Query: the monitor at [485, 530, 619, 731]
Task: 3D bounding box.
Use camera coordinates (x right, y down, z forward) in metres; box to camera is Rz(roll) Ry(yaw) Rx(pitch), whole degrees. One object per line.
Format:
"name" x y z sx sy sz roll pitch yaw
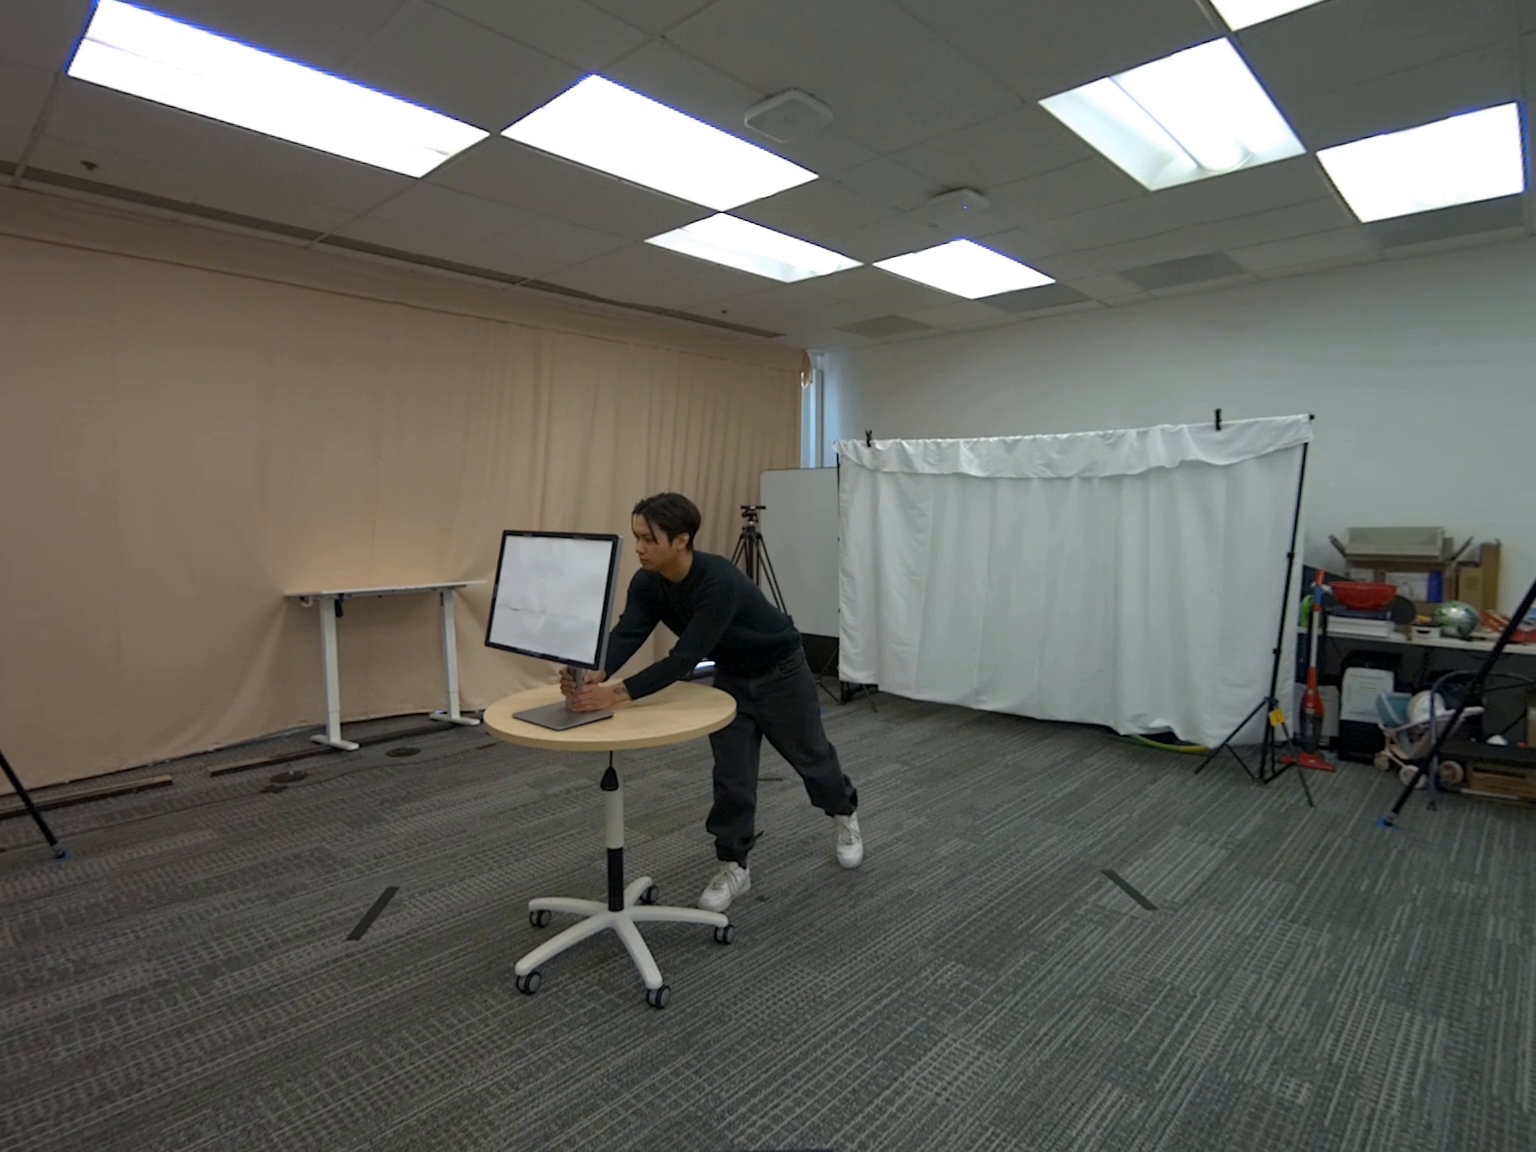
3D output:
"monitor" -0.604 0.146 2.437 0.557 0.521 0.181 4 5 41
